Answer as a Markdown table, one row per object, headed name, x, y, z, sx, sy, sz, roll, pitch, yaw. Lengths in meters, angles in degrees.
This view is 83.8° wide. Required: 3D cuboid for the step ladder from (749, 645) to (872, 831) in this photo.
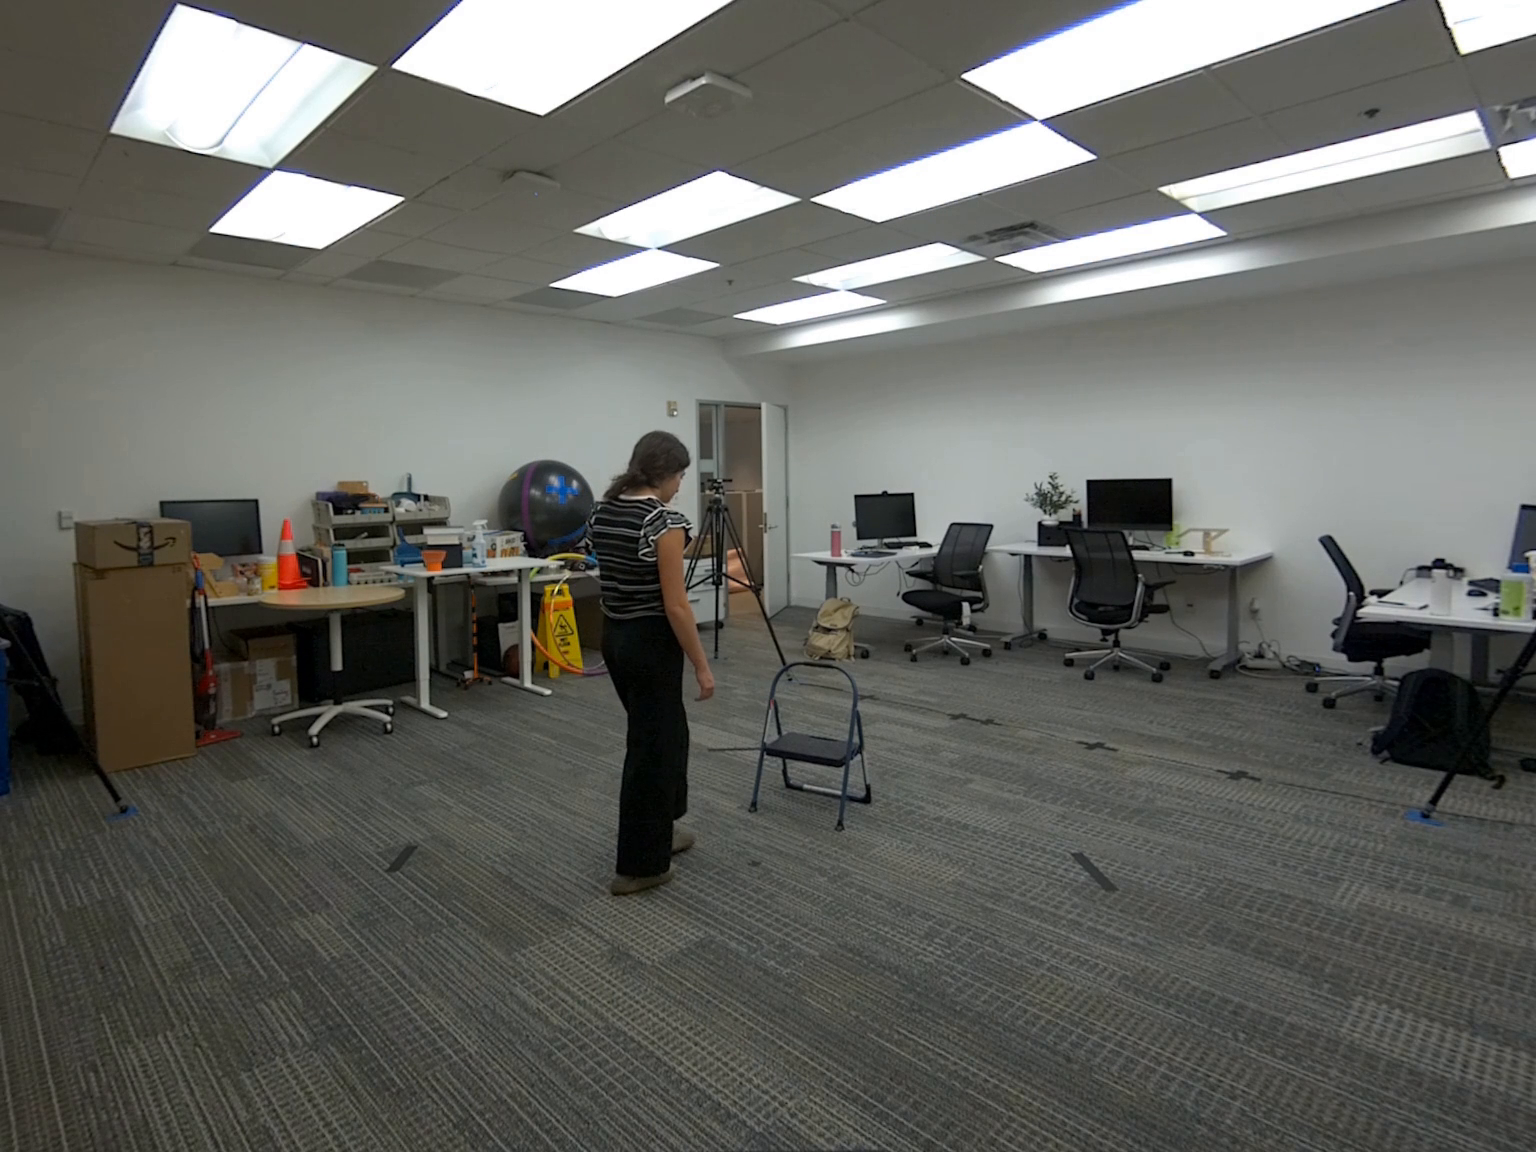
| name | x | y | z | sx | sy | sz | roll | pitch | yaw |
| --- | --- | --- | --- | --- | --- | --- | --- | --- | --- |
| step ladder | 0.182 | 0.681 | 3.614 | 0.442 | 0.604 | 0.341 | 2 | 5 | 30 |
